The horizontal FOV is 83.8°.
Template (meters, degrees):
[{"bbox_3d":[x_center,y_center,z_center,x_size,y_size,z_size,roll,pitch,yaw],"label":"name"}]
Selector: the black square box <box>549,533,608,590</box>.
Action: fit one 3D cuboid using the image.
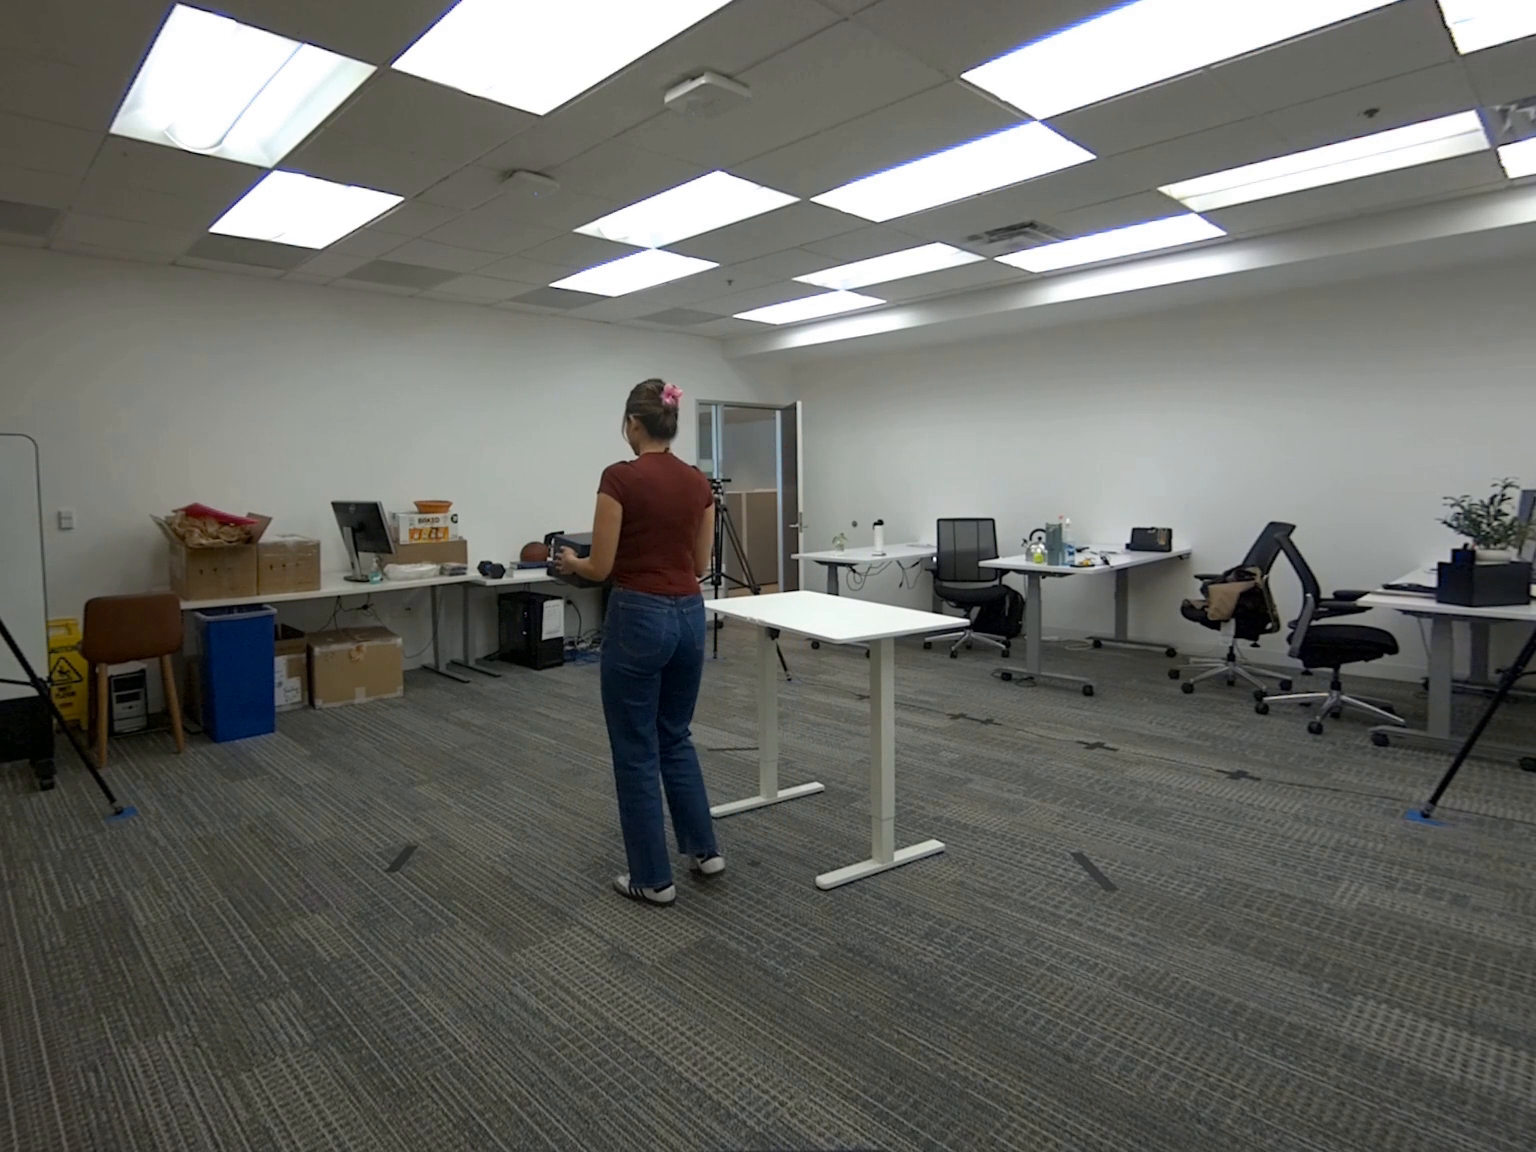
[{"bbox_3d":[-0.637,-0.058,3.072,0.222,0.155,0.224,-2,11,-32],"label":"black square box"}]
